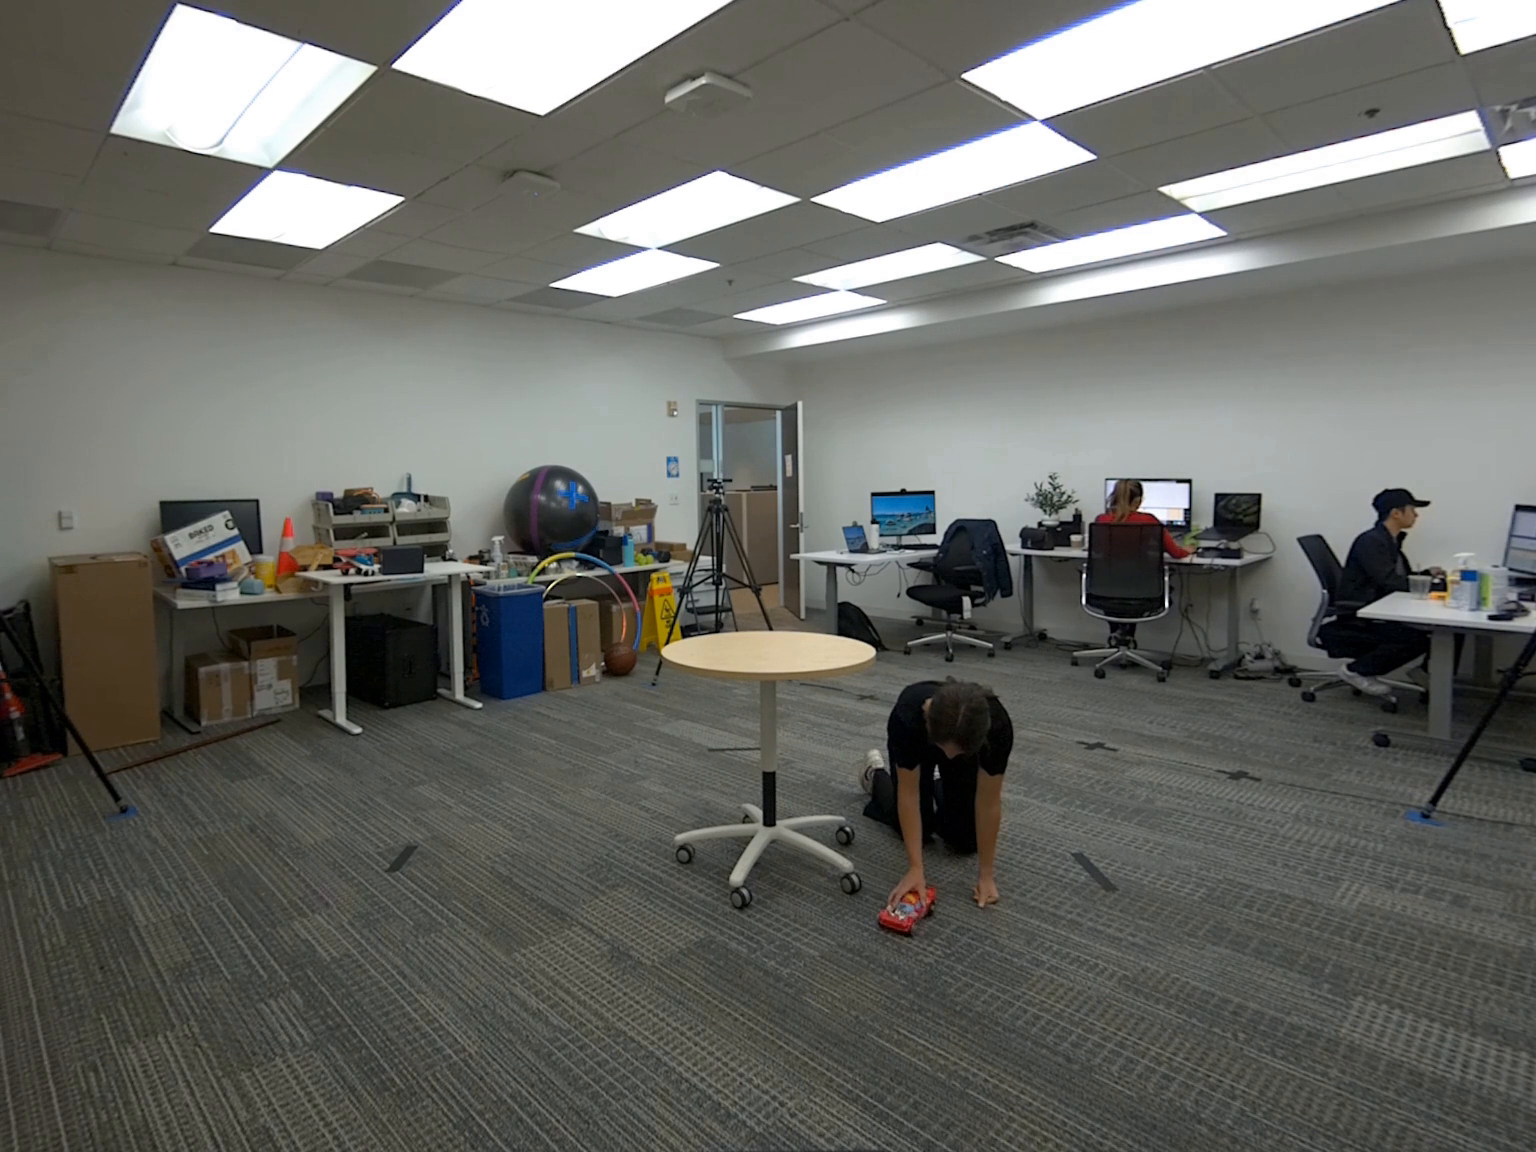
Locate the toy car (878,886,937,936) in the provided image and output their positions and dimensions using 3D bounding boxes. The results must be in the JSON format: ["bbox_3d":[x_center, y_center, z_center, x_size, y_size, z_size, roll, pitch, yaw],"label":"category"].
[{"bbox_3d":[0.455,1.055,2.701,0.134,0.082,0.251,2,18,34],"label":"toy car"}]
